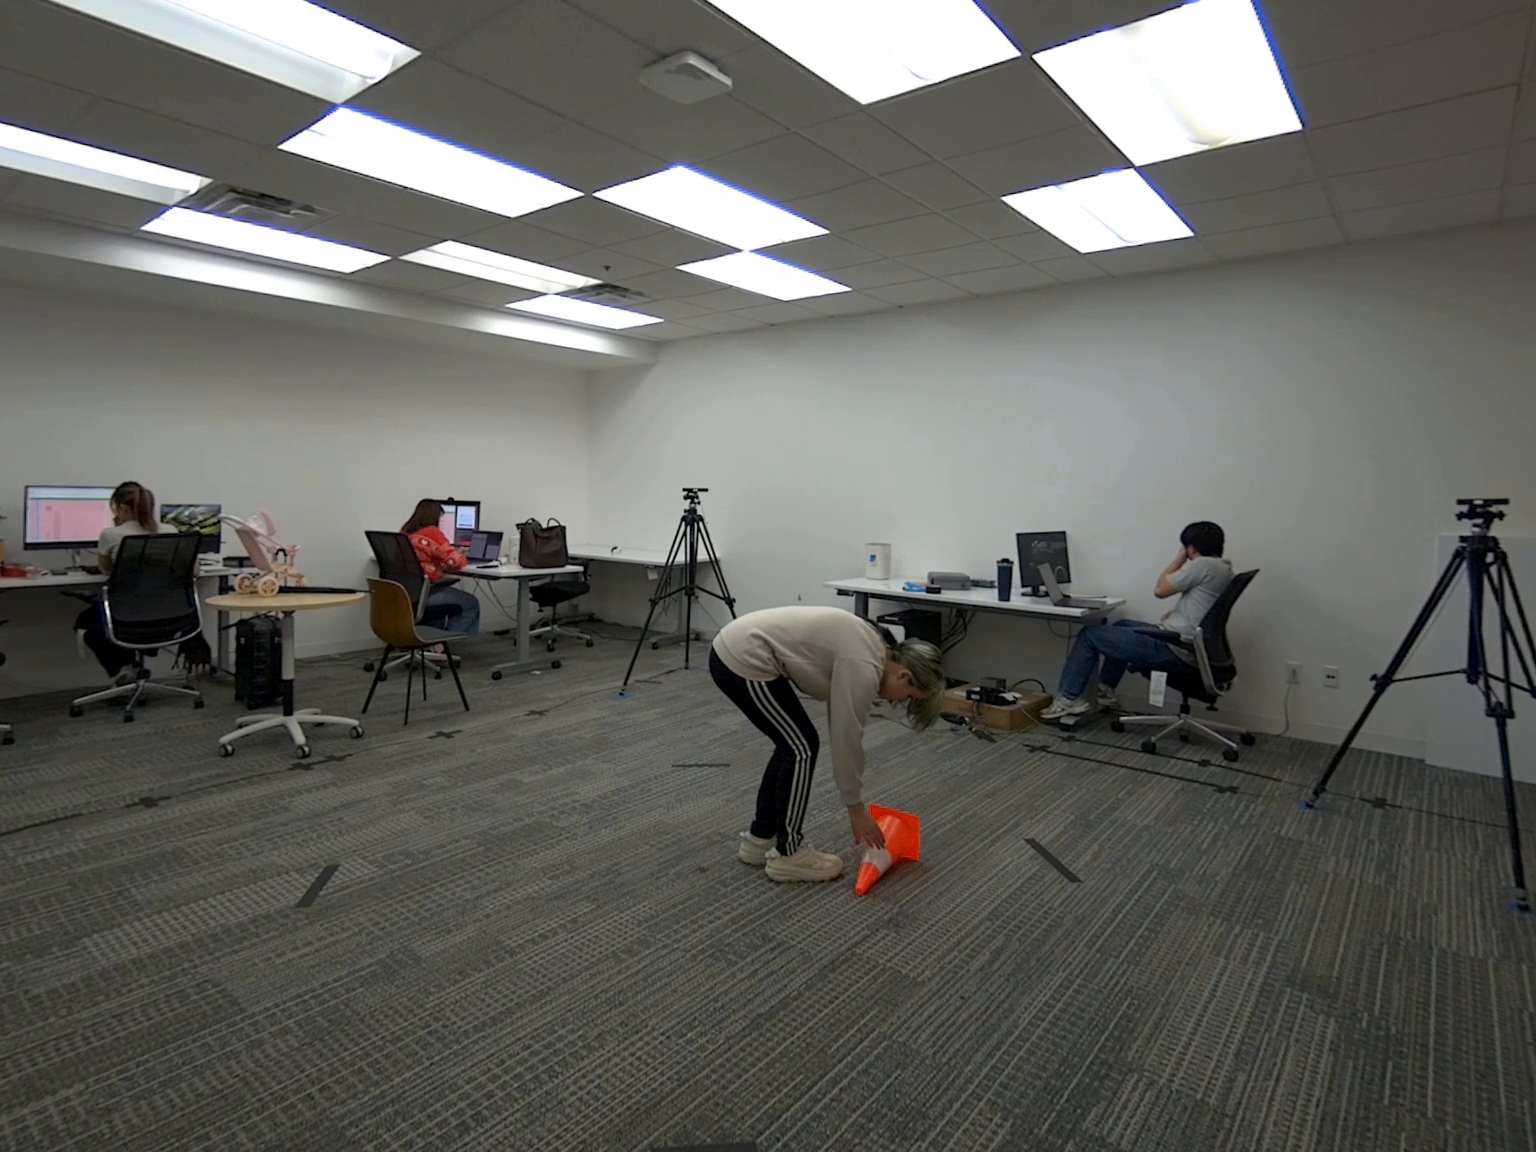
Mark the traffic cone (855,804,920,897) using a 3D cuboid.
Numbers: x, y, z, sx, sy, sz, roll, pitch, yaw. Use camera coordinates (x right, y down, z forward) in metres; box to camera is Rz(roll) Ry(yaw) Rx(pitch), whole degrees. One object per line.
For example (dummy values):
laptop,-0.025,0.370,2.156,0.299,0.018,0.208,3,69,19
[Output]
traffic cone,0.385,1.035,3.089,0.211,0.200,0.379,4,19,28
